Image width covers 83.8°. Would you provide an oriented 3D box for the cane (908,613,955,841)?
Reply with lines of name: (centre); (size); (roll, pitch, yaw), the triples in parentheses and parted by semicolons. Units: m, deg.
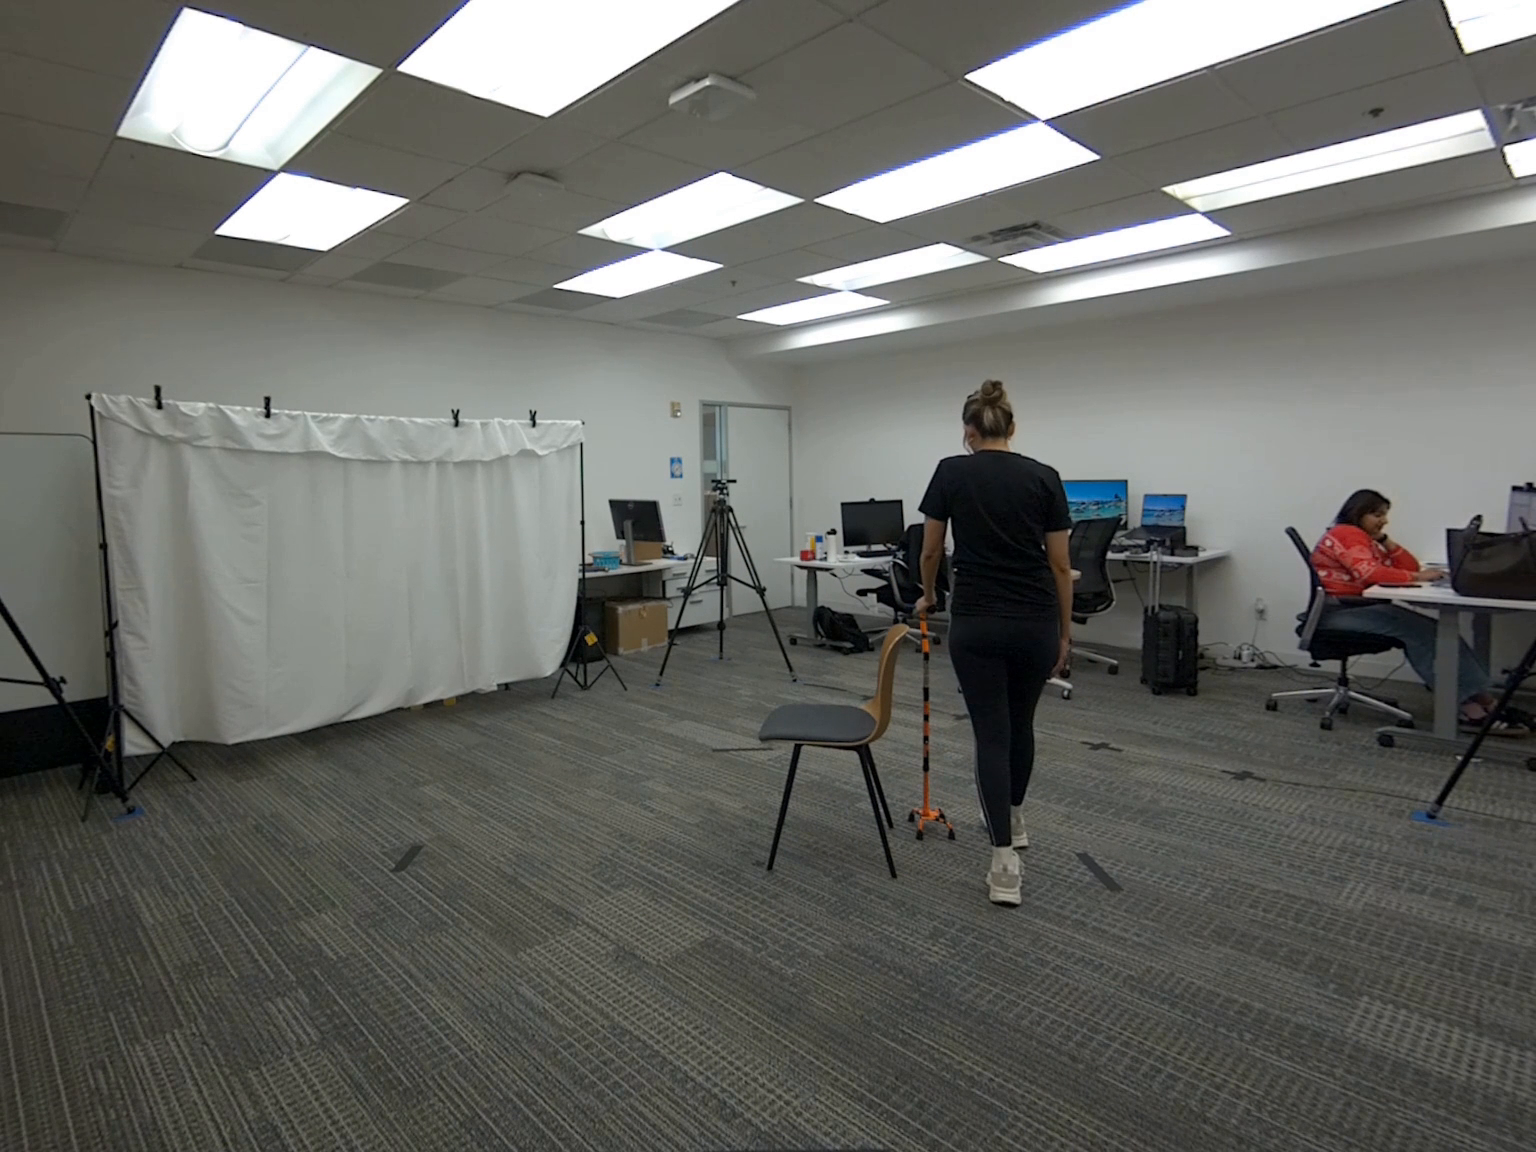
cane: (0.635, 0.551, 3.362); (0.152, 0.905, 0.206); (-1, 3, 2)
